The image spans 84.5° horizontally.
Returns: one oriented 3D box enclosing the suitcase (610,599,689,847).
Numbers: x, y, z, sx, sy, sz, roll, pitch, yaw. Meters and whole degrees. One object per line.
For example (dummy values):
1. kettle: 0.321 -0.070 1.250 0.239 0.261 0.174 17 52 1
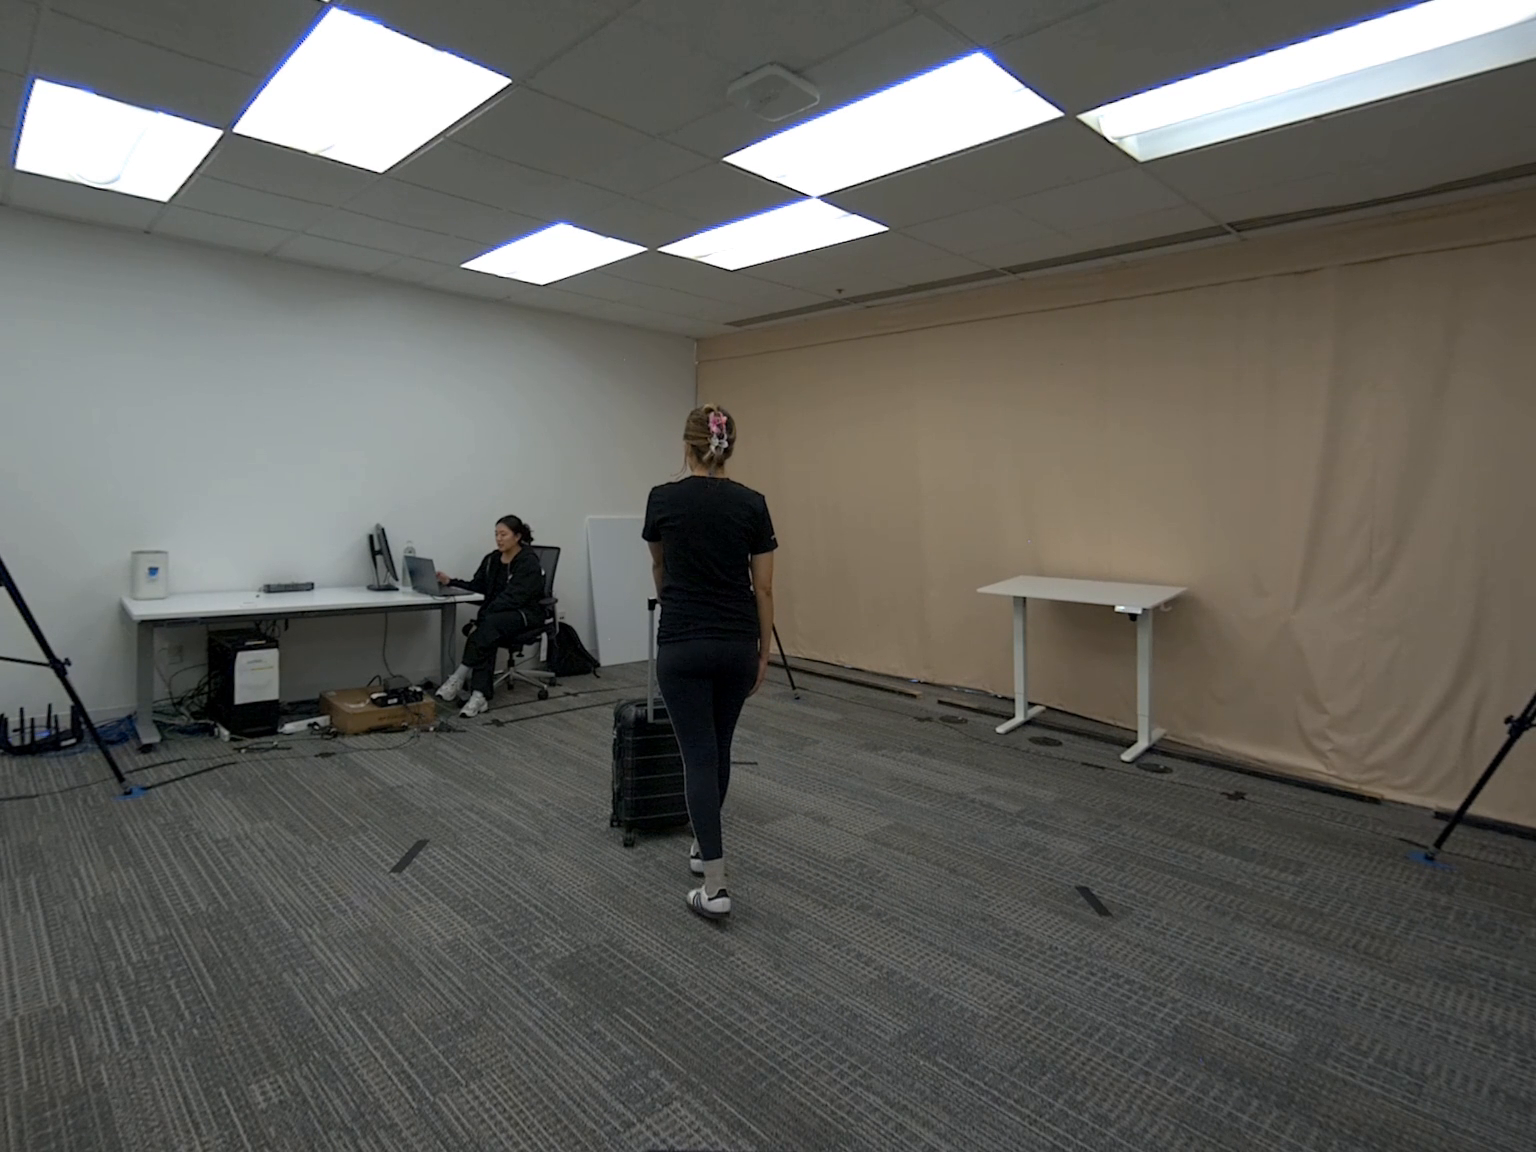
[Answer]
1. suitcase: -0.470 0.581 3.510 0.378 0.978 0.261 1 0 -19
